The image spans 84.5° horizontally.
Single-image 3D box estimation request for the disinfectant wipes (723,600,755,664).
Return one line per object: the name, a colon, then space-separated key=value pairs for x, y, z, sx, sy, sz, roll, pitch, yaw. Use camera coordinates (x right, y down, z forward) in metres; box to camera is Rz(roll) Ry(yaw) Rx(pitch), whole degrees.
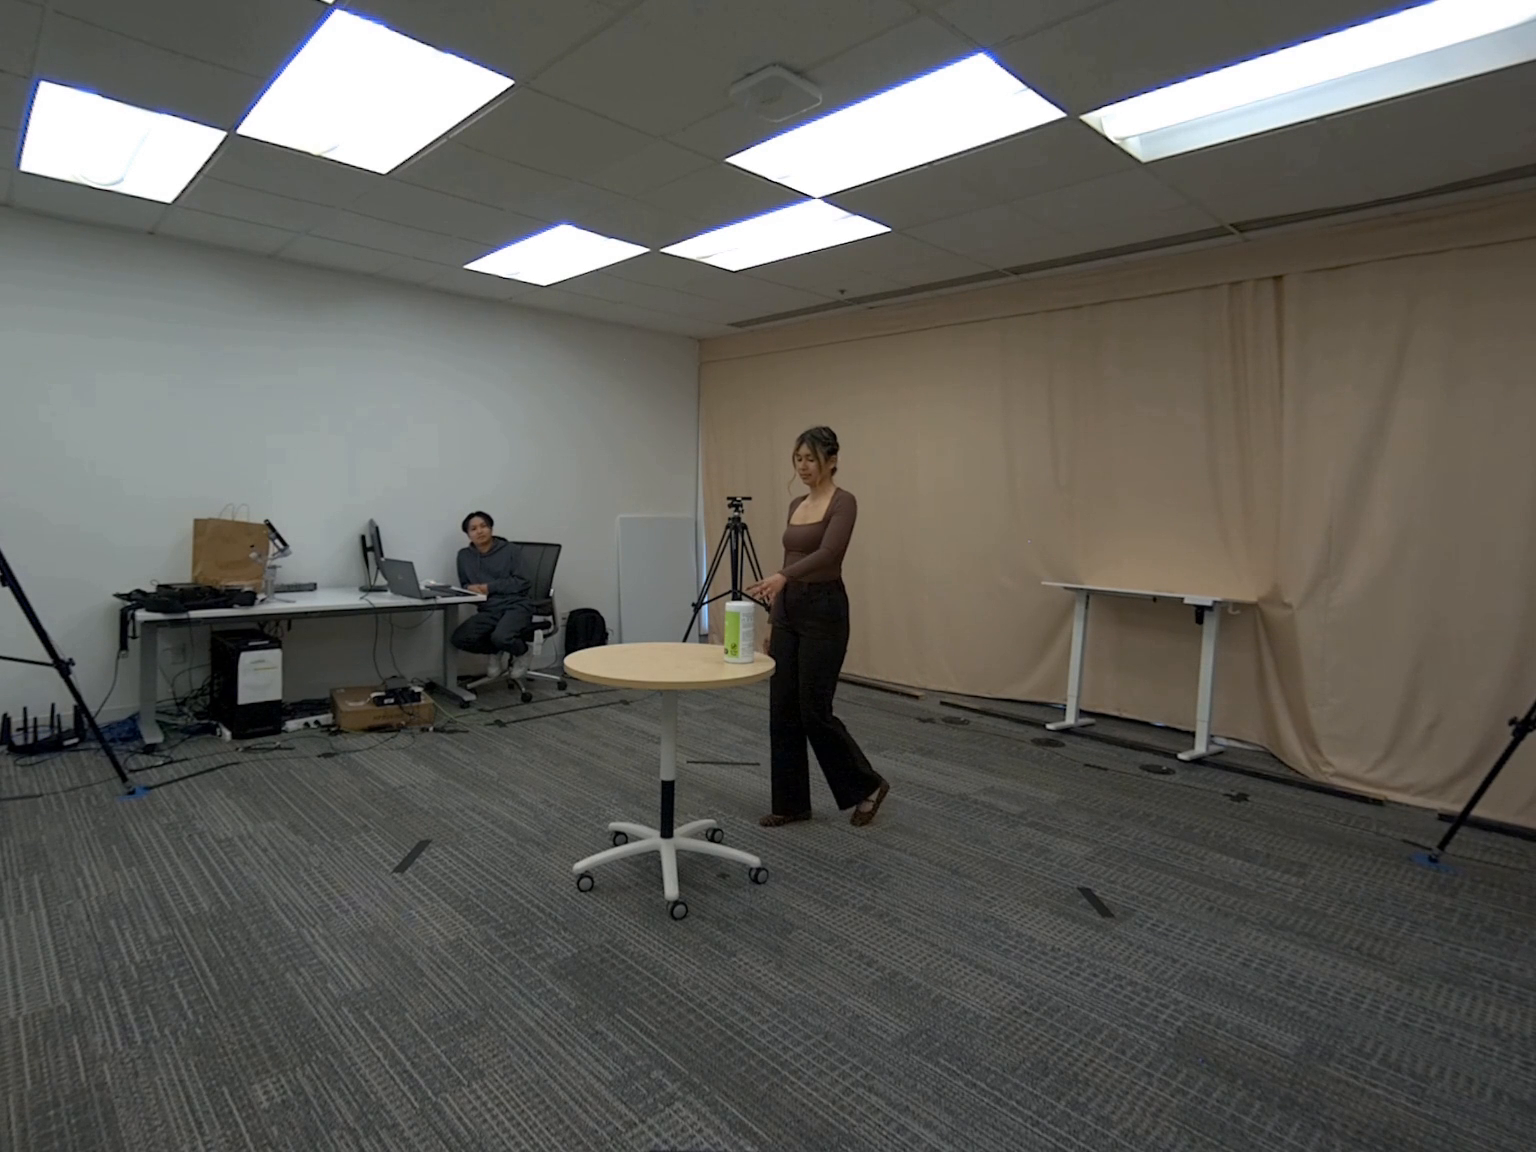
disinfectant wipes: x=-0.104 y=0.206 z=3.067 sx=0.118 sy=0.217 sz=0.118 roll=2 pitch=4 yaw=-2
